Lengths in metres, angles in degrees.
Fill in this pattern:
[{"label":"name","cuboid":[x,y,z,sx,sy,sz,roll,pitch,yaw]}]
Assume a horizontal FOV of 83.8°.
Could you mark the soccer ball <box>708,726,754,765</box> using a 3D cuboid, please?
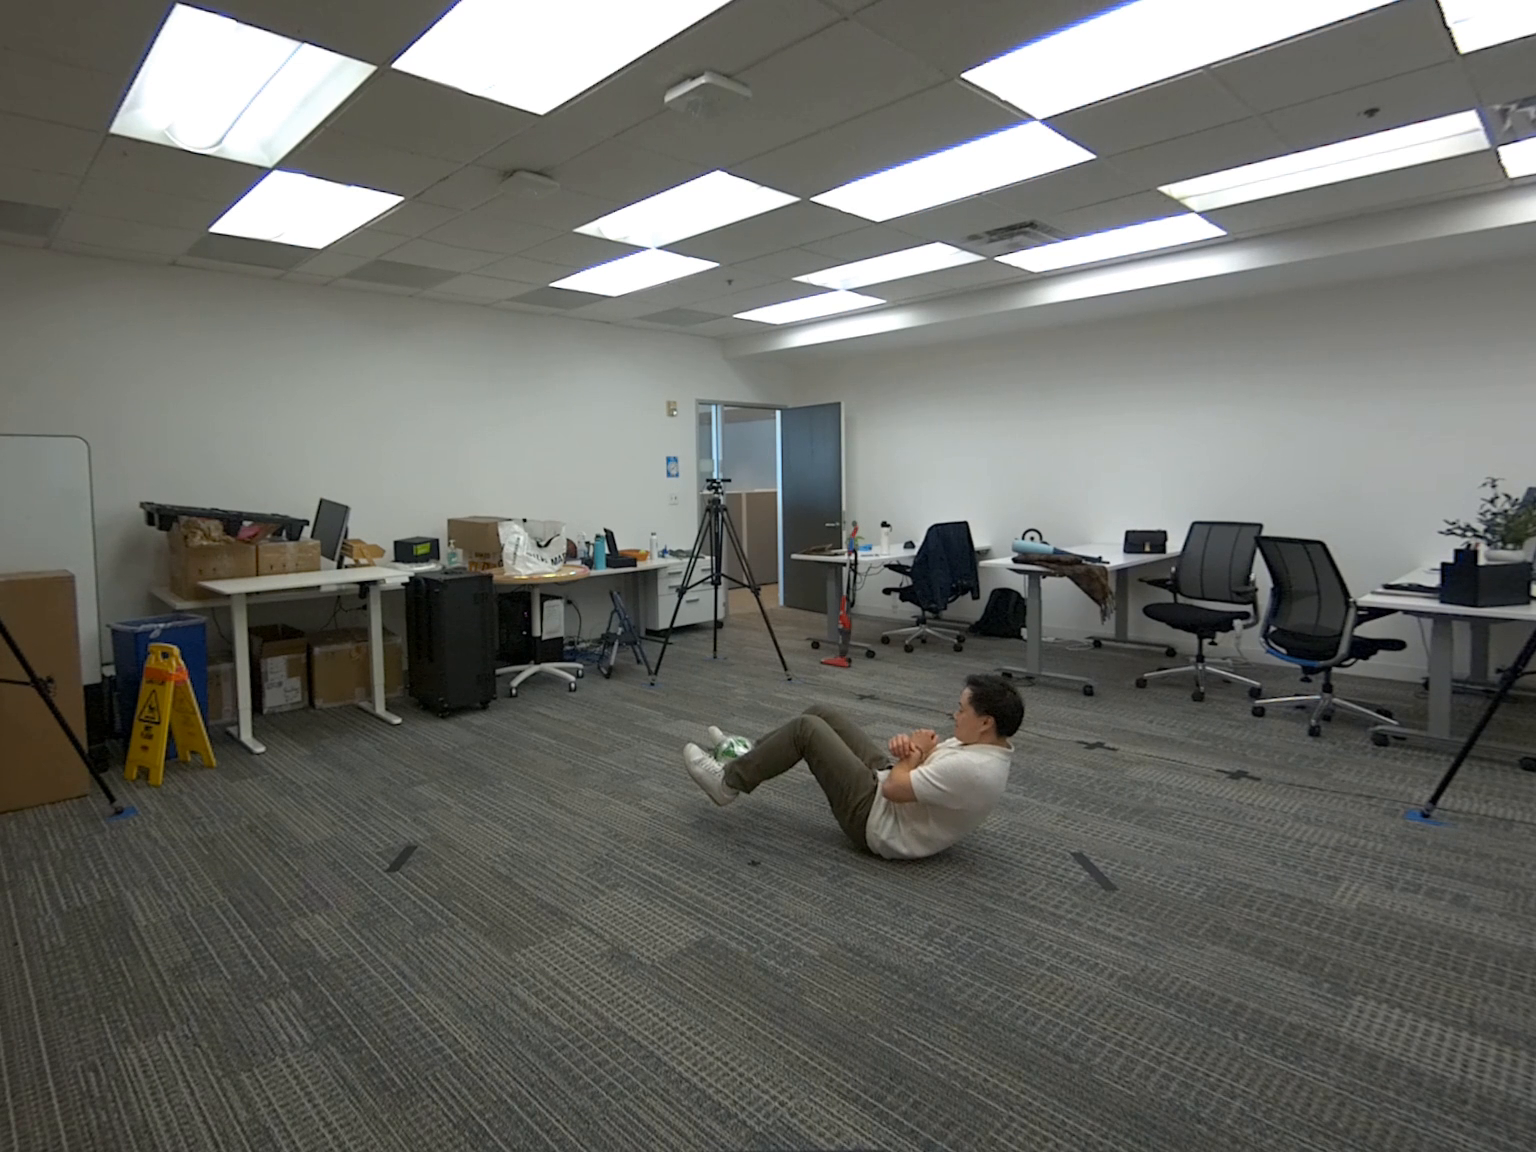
[{"label":"soccer ball","cuboid":[-0.121,0.746,3.486,0.187,0.187,0.188,-1,5,-2]}]
